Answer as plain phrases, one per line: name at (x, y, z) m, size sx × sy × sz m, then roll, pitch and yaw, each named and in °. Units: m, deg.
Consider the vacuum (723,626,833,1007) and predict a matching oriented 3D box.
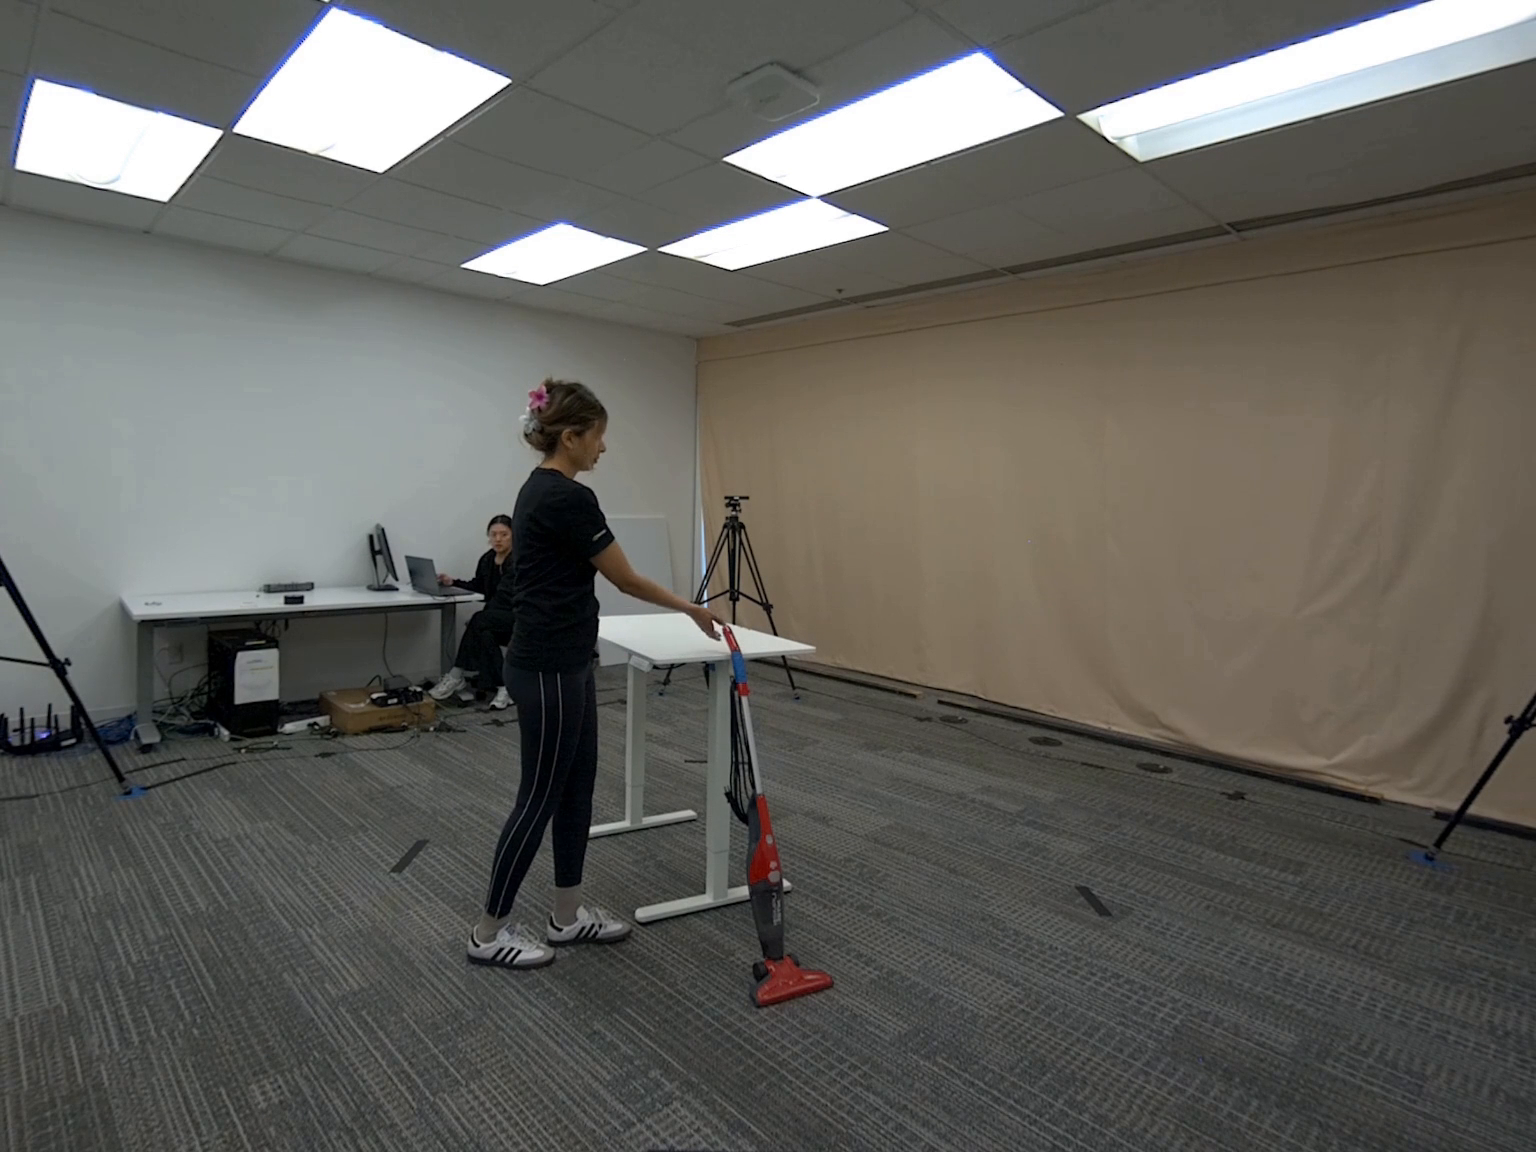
vacuum at (-0.053, 0.684, 2.573) m, size 0.246 × 1.065 × 0.145 m, roll 6°, pitch -25°, yaw -43°
